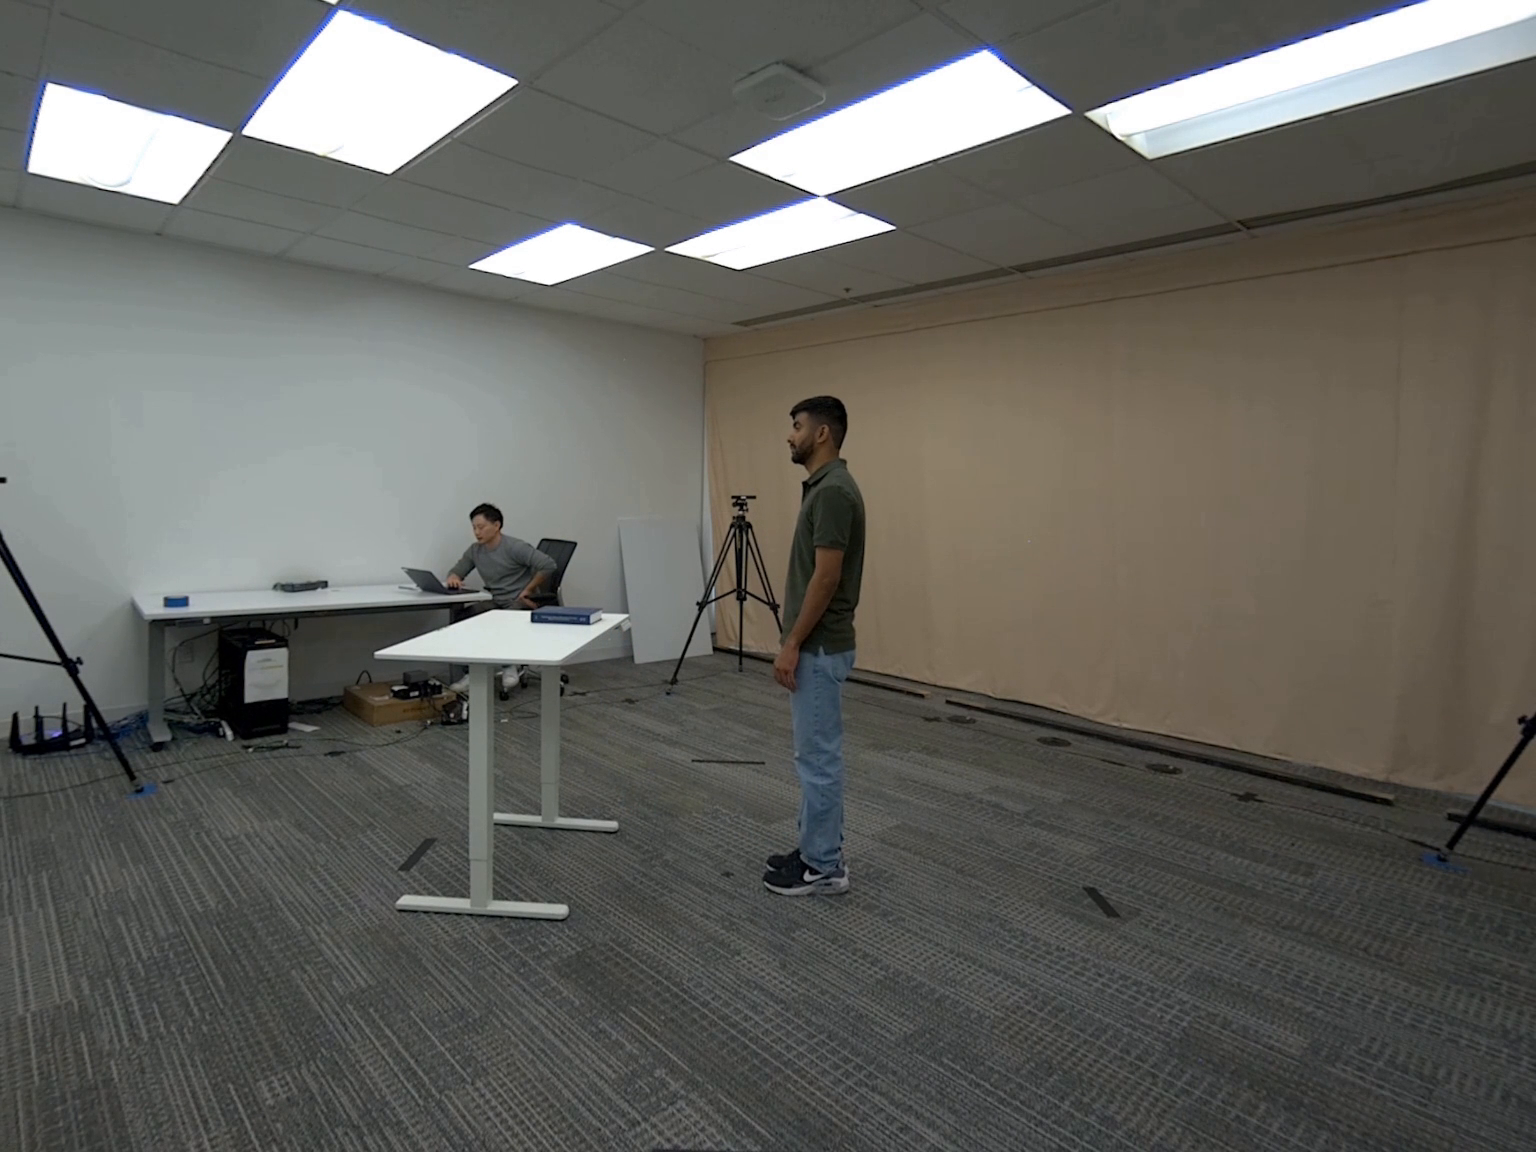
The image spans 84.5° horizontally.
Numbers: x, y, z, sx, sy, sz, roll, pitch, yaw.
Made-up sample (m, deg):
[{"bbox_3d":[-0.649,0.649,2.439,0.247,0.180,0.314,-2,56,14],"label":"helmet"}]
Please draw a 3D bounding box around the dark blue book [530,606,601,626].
[{"bbox_3d":[-0.808,0.158,3.350,0.247,0.045,0.162,2,5,9],"label":"dark blue book"}]
